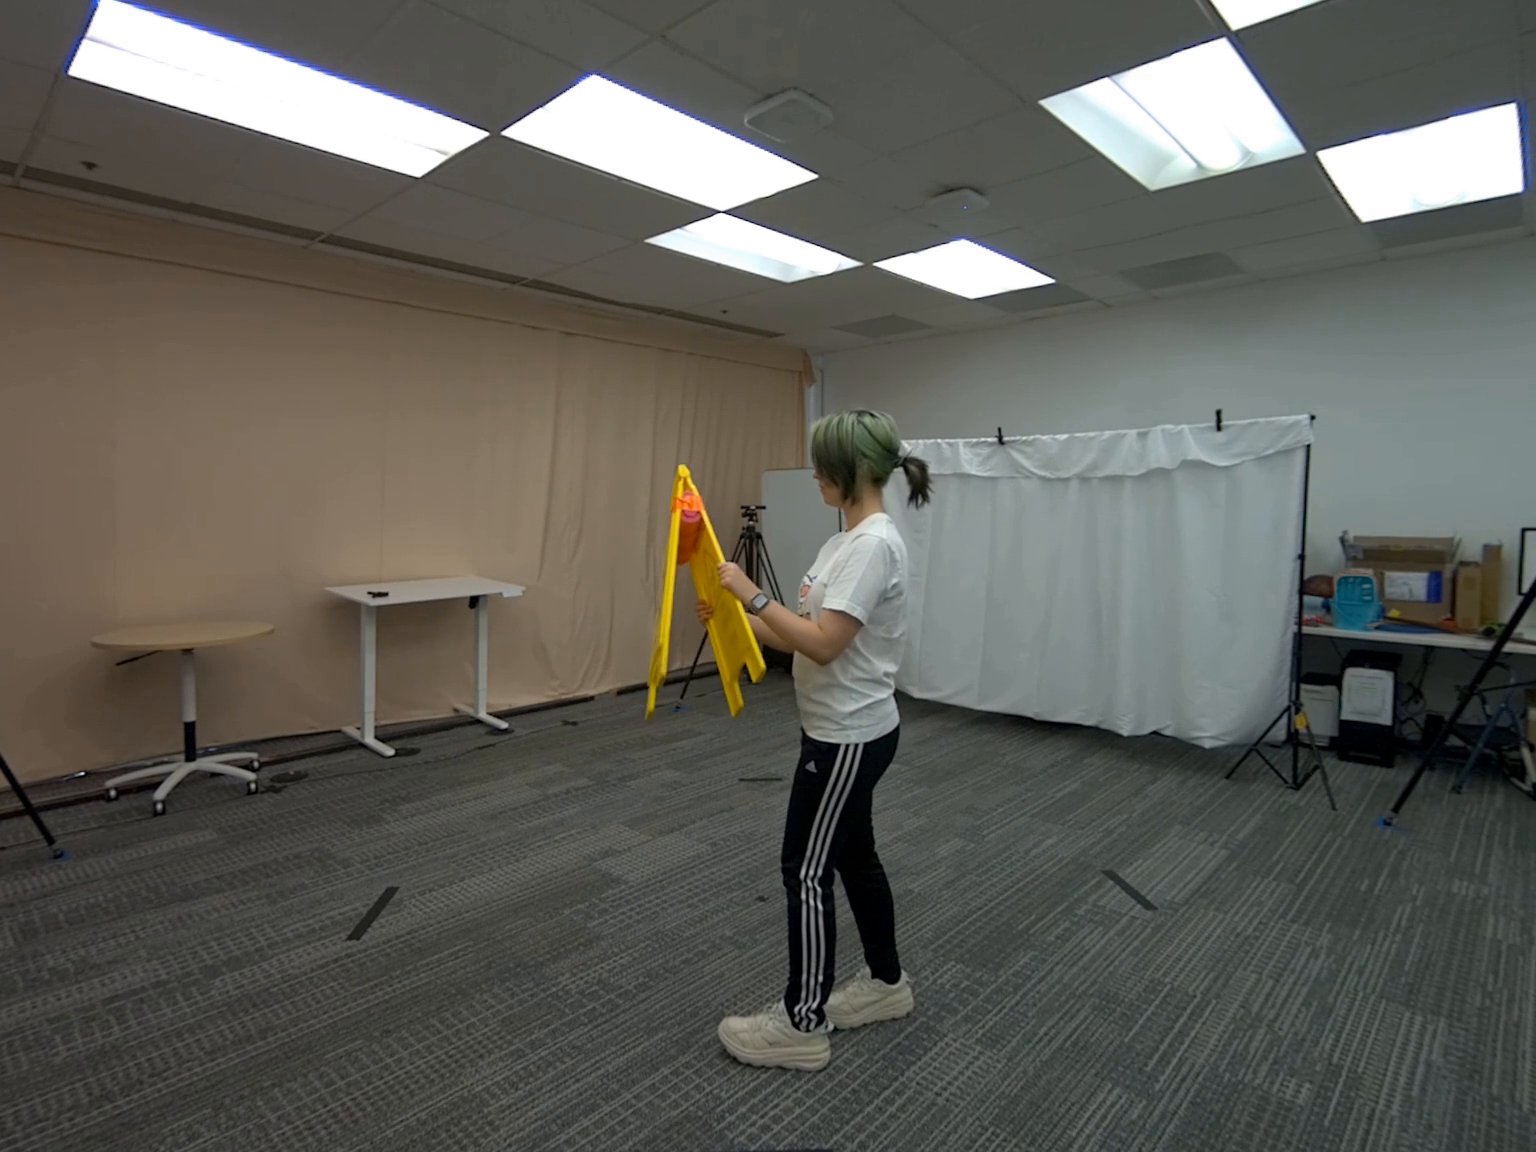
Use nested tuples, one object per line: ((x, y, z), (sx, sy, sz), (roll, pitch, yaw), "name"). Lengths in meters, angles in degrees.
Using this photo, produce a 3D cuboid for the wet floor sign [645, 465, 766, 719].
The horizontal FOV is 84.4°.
((-0.210, 0.016, 2.204), (0.285, 0.660, 0.280), (0, -34, -14), "wet floor sign")
